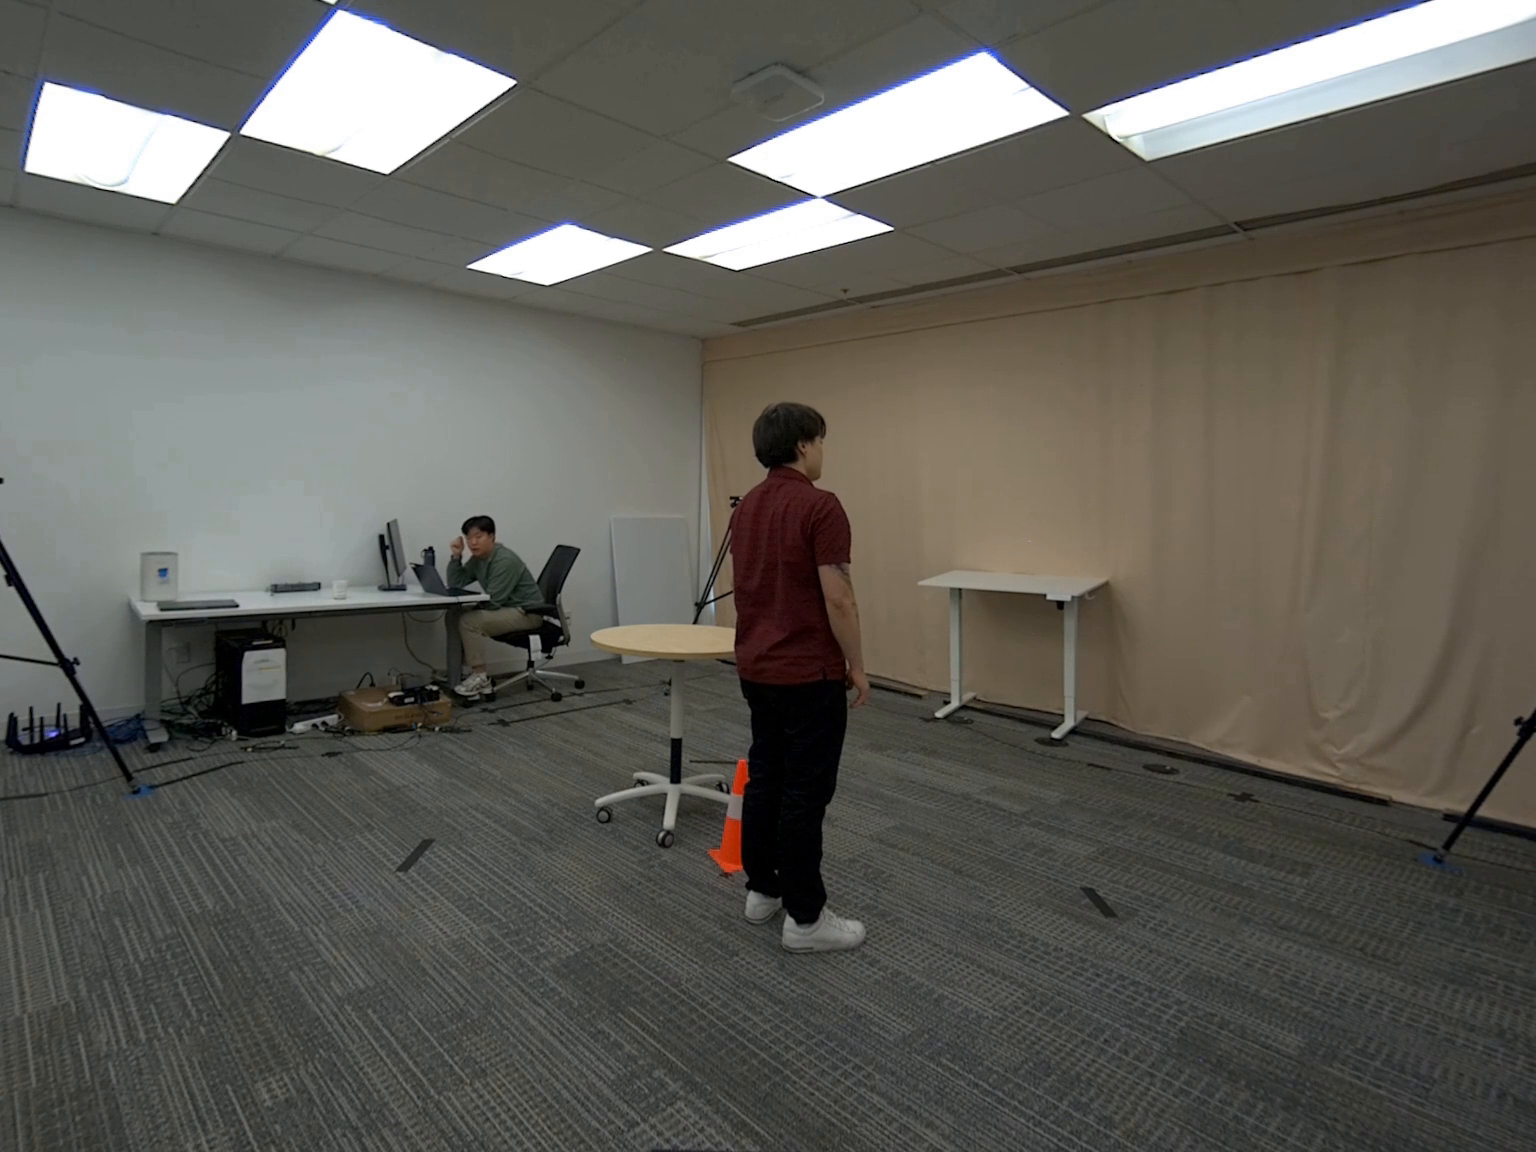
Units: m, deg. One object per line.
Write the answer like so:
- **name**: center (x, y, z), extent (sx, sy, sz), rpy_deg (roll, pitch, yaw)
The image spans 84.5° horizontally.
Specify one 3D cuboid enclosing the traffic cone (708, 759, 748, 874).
- **traffic cone**: center (-0.108, 0.912, 3.252), extent (0.201, 0.383, 0.207), rpy_deg (1, 2, -23)
